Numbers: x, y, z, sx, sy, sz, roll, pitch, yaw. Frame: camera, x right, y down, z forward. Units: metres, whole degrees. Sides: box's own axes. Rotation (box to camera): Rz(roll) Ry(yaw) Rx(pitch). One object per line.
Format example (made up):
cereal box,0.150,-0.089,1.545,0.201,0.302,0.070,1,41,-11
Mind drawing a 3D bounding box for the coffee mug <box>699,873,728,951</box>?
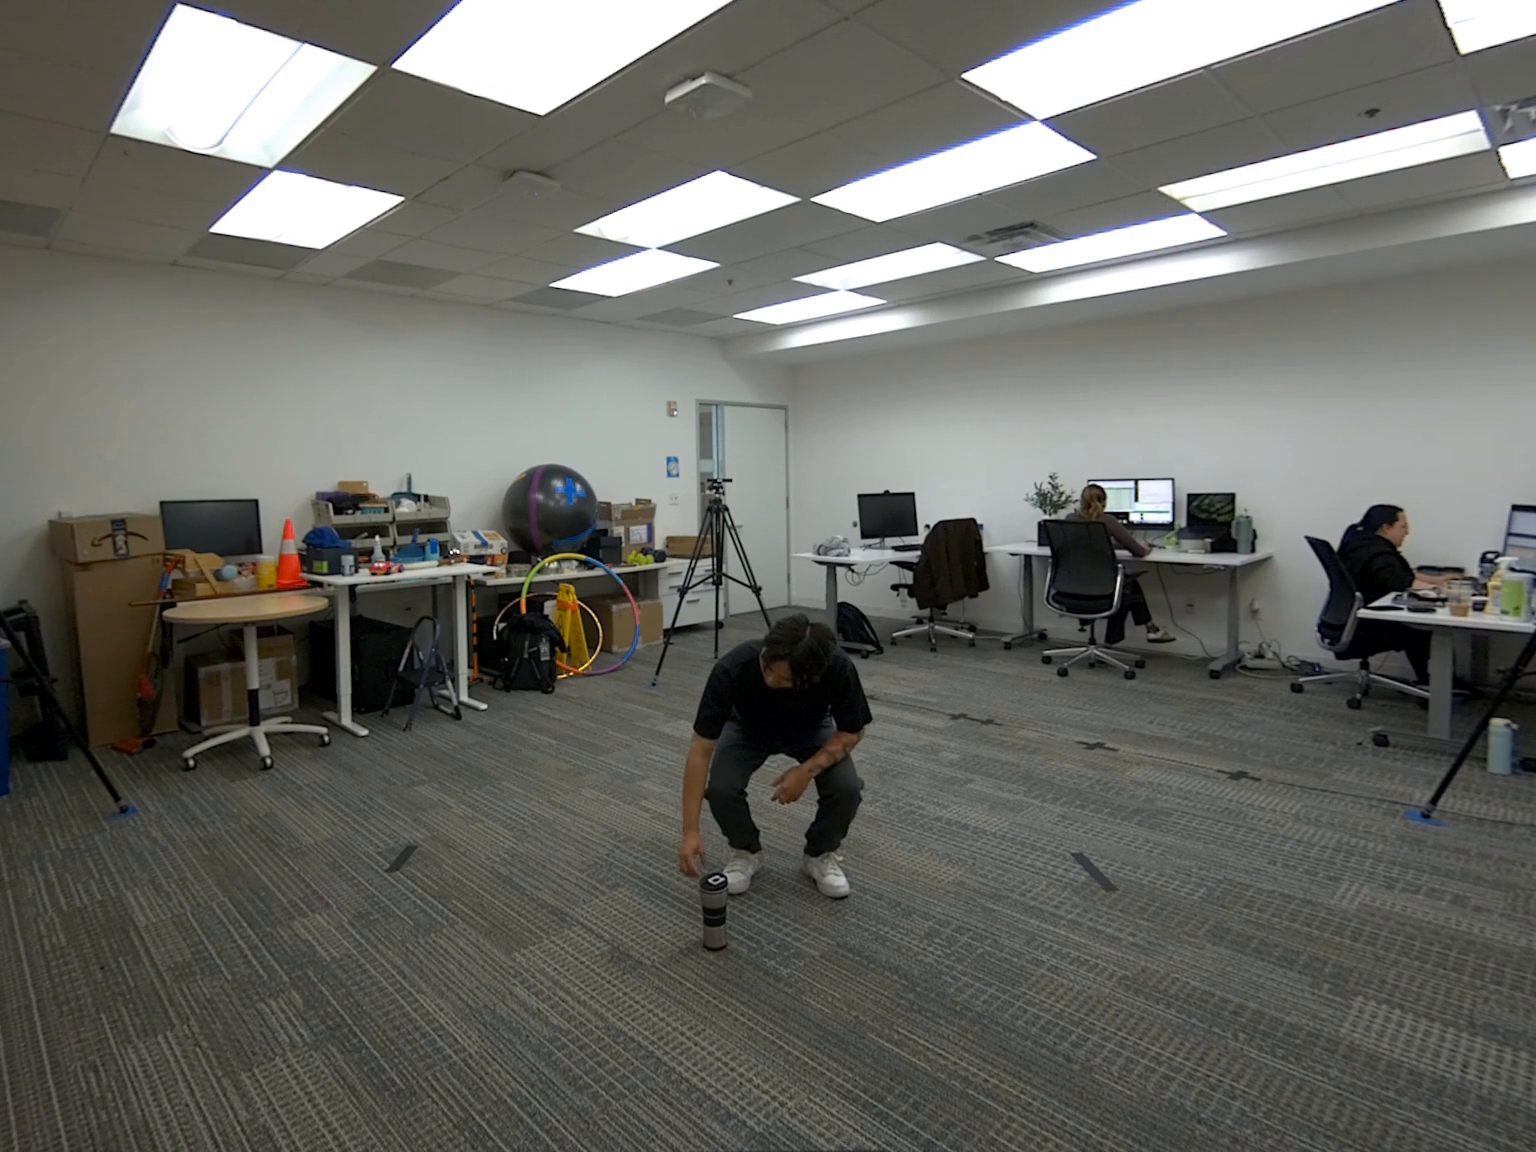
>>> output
coffee mug,-0.144,1.015,2.573,0.119,0.202,0.090,-11,8,-44
